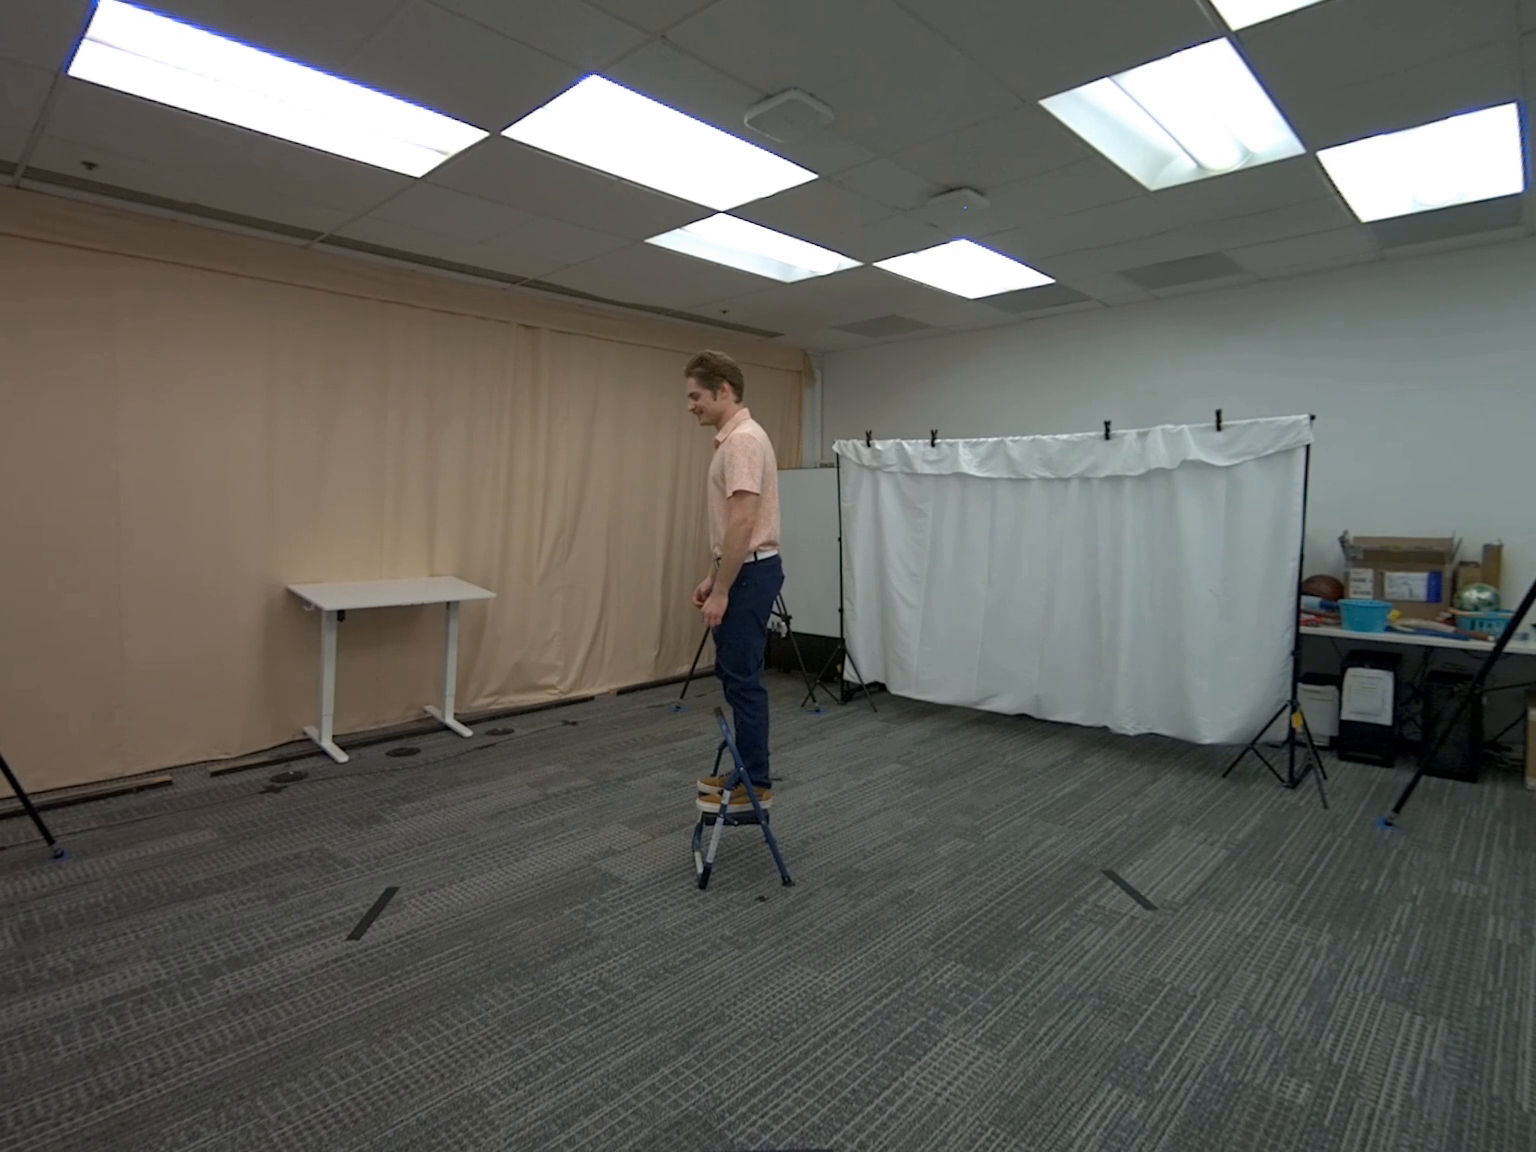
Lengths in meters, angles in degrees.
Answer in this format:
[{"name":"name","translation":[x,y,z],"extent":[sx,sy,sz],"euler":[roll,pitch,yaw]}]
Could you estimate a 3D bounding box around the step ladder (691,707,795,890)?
[{"name":"step ladder","translation":[-0.114,0.822,3.259],"extent":[0.346,0.605,0.435],"euler":[0,3,-8]}]
